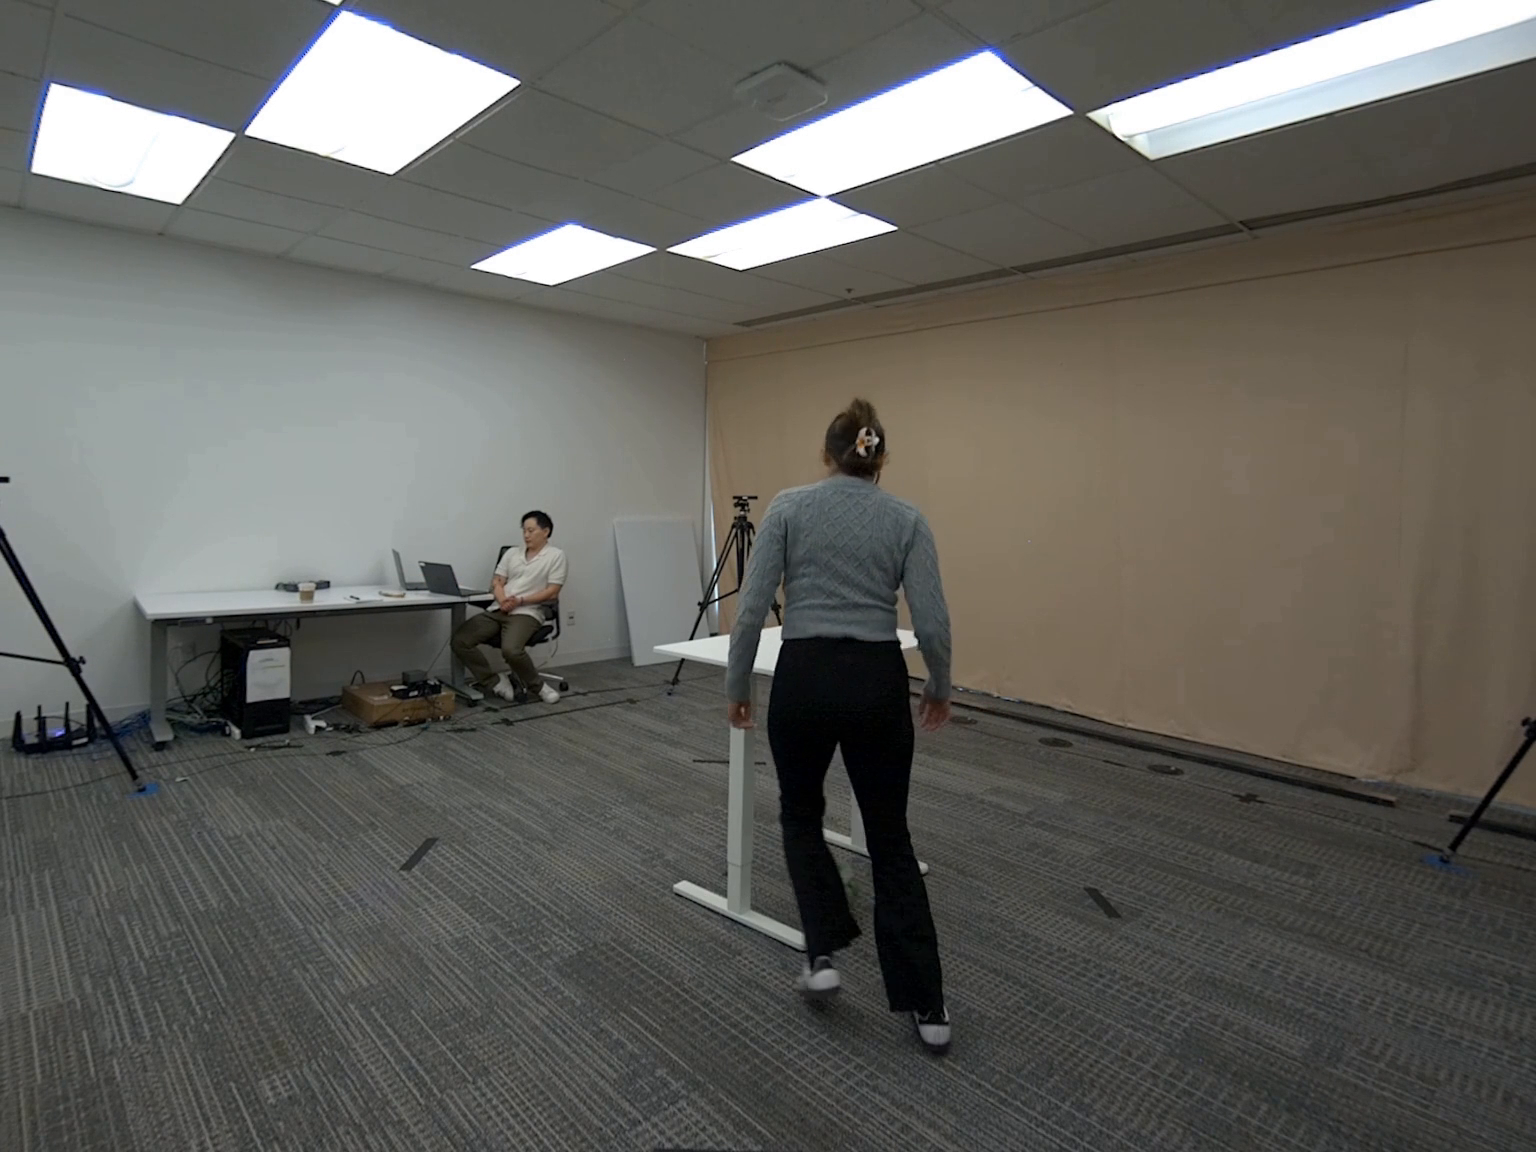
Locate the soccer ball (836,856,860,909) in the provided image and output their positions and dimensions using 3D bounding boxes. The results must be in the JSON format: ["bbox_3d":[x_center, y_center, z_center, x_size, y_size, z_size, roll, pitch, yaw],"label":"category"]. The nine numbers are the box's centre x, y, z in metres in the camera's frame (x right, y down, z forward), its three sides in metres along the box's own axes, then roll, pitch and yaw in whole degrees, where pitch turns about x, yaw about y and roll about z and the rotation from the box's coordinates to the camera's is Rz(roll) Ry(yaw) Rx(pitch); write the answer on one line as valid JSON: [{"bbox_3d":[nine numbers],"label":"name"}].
[{"bbox_3d":[0.219,1.046,2.818,0.187,0.187,0.188,1,4,-1],"label":"soccer ball"}]
